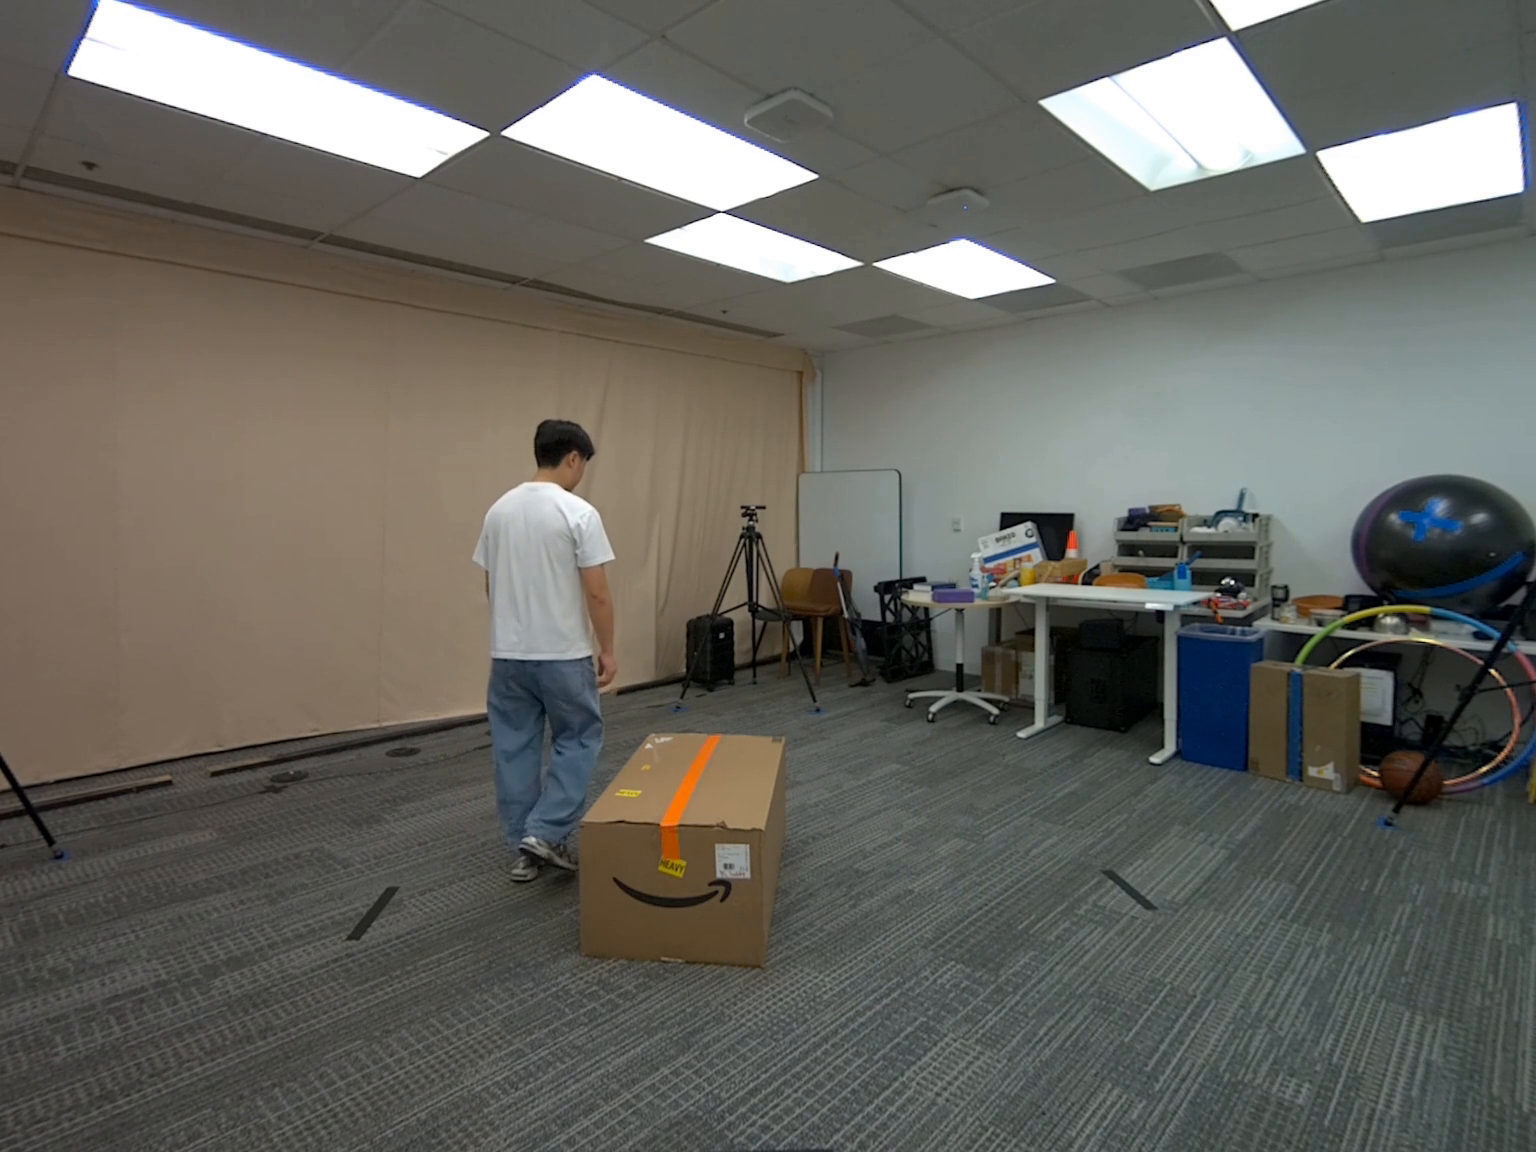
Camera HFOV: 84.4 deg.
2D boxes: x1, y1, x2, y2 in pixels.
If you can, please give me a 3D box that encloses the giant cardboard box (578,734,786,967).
[{"bbox_3d":[-0.255,0.921,3.060,0.582,0.425,1.021,-1,4,5],"label":"giant cardboard box"}]
